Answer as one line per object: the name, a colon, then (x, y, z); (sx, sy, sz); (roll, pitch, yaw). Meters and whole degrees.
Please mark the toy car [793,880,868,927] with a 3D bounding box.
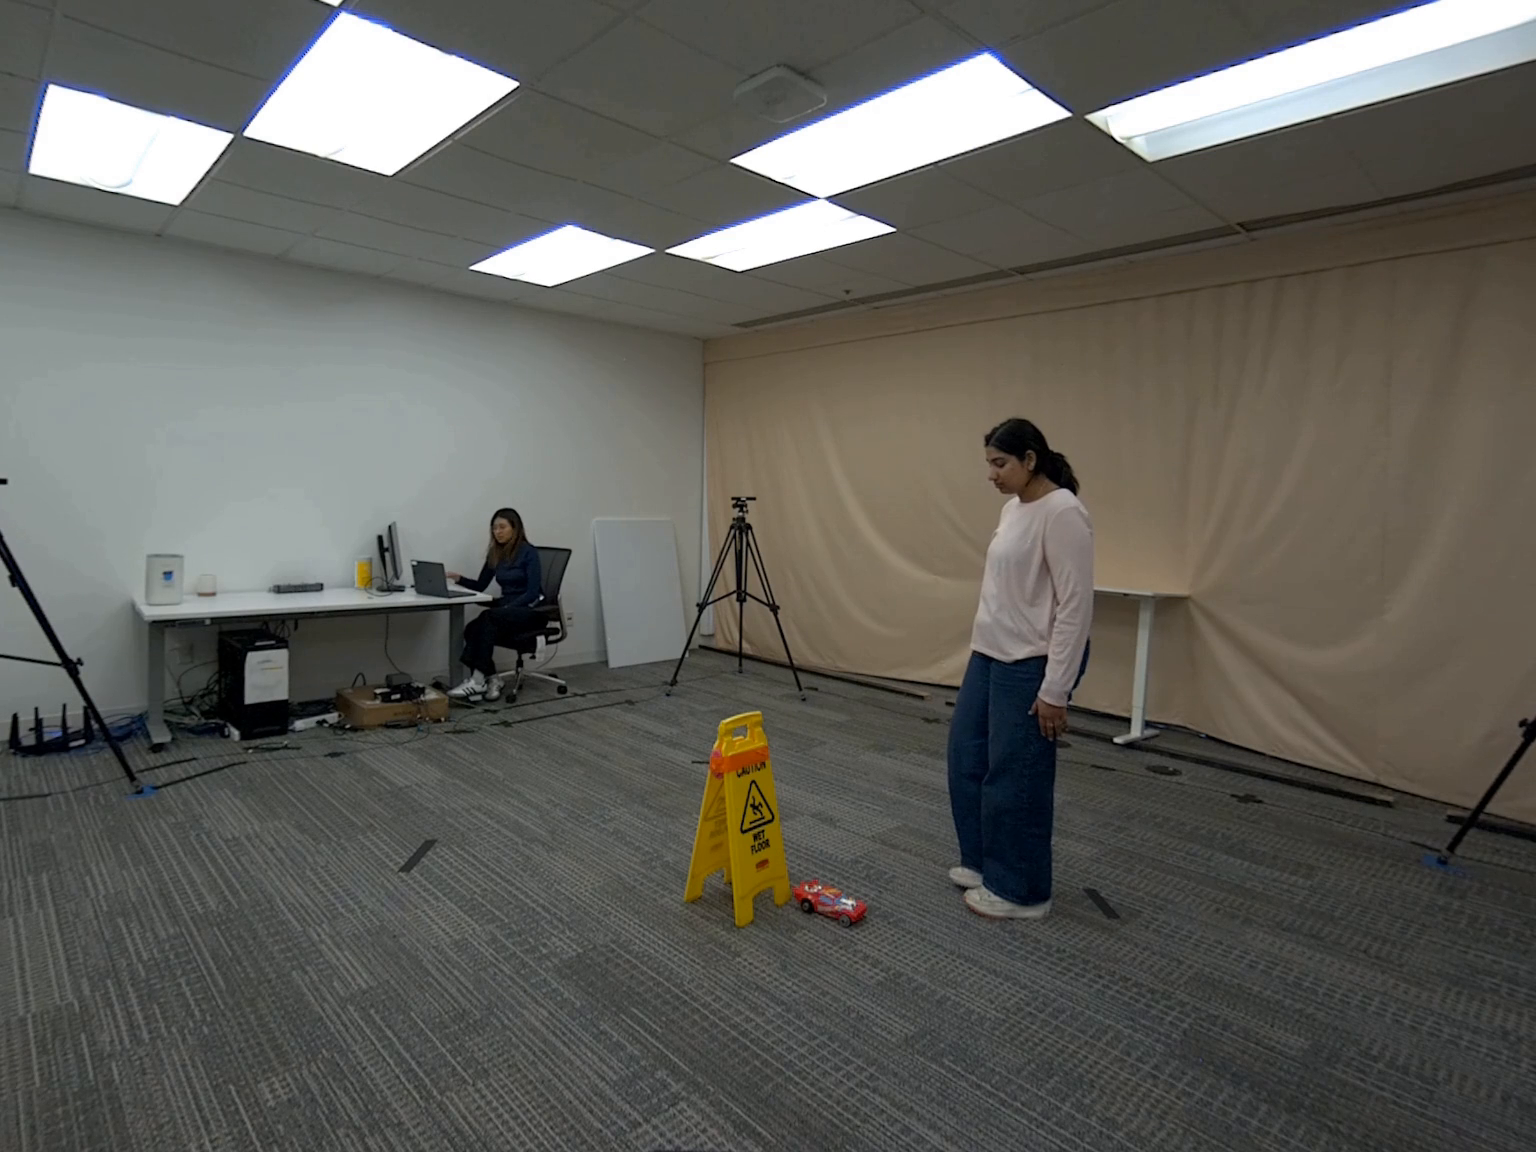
toy car: (0.197, 1.096, 2.855); (0.262, 0.083, 0.127); (19, 13, 35)
